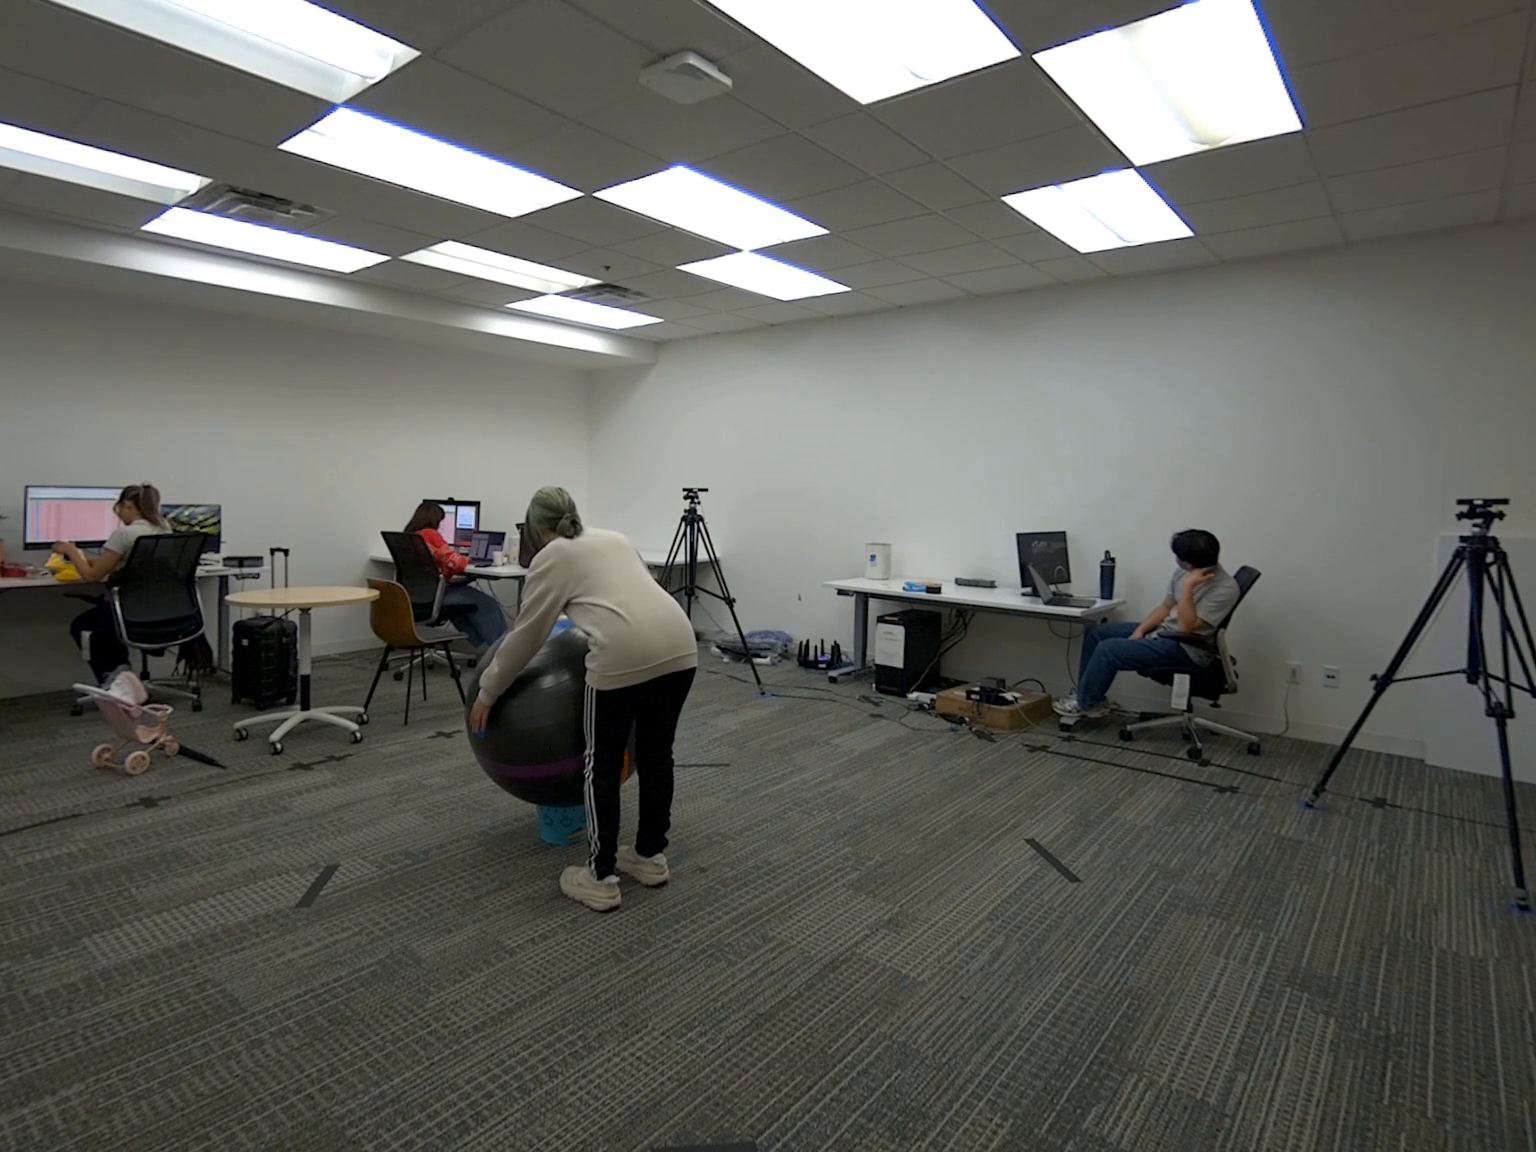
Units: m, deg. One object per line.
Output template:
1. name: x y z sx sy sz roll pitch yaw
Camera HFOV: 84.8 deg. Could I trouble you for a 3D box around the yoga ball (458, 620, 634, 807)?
1. yoga ball: -0.816 0.525 3.367 0.757 0.755 0.762 1 4 -2
